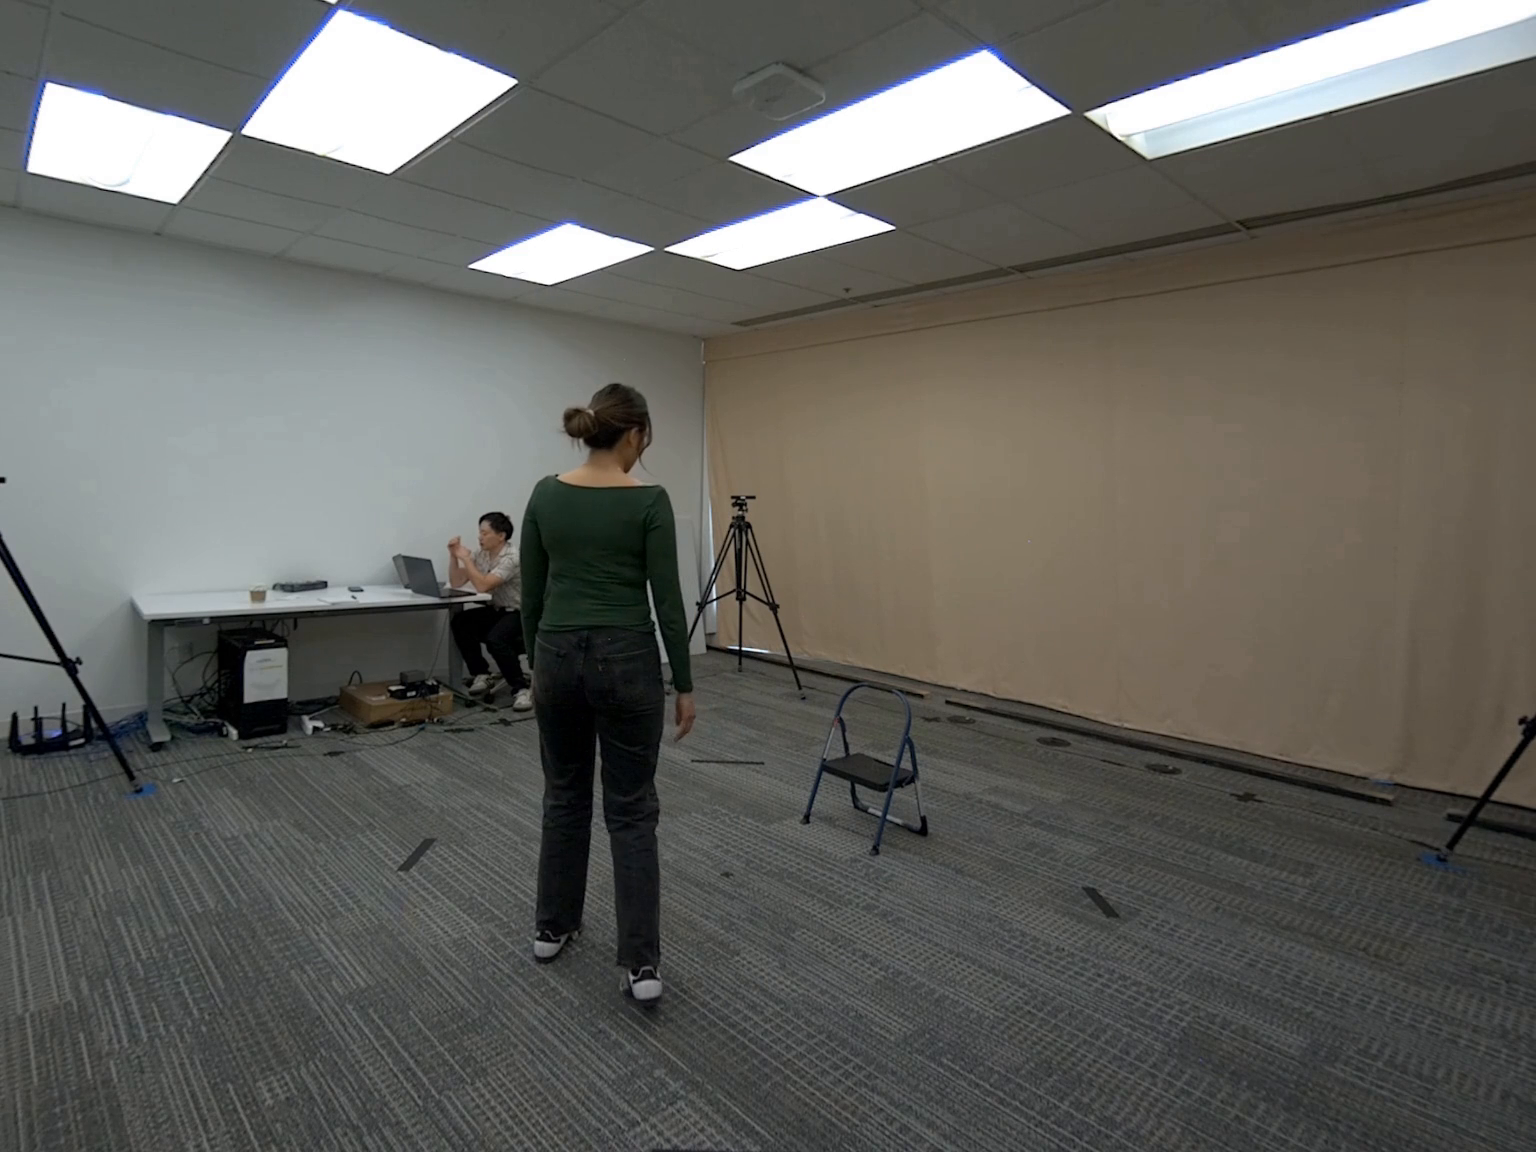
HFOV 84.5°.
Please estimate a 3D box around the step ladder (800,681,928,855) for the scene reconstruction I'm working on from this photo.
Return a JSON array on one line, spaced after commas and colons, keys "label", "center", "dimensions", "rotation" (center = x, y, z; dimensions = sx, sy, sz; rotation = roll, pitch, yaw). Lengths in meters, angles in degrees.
[{"label": "step ladder", "center": [0.408, 0.772, 3.551], "dimensions": [0.341, 0.604, 0.442], "rotation": [-1, 5, -40]}]
